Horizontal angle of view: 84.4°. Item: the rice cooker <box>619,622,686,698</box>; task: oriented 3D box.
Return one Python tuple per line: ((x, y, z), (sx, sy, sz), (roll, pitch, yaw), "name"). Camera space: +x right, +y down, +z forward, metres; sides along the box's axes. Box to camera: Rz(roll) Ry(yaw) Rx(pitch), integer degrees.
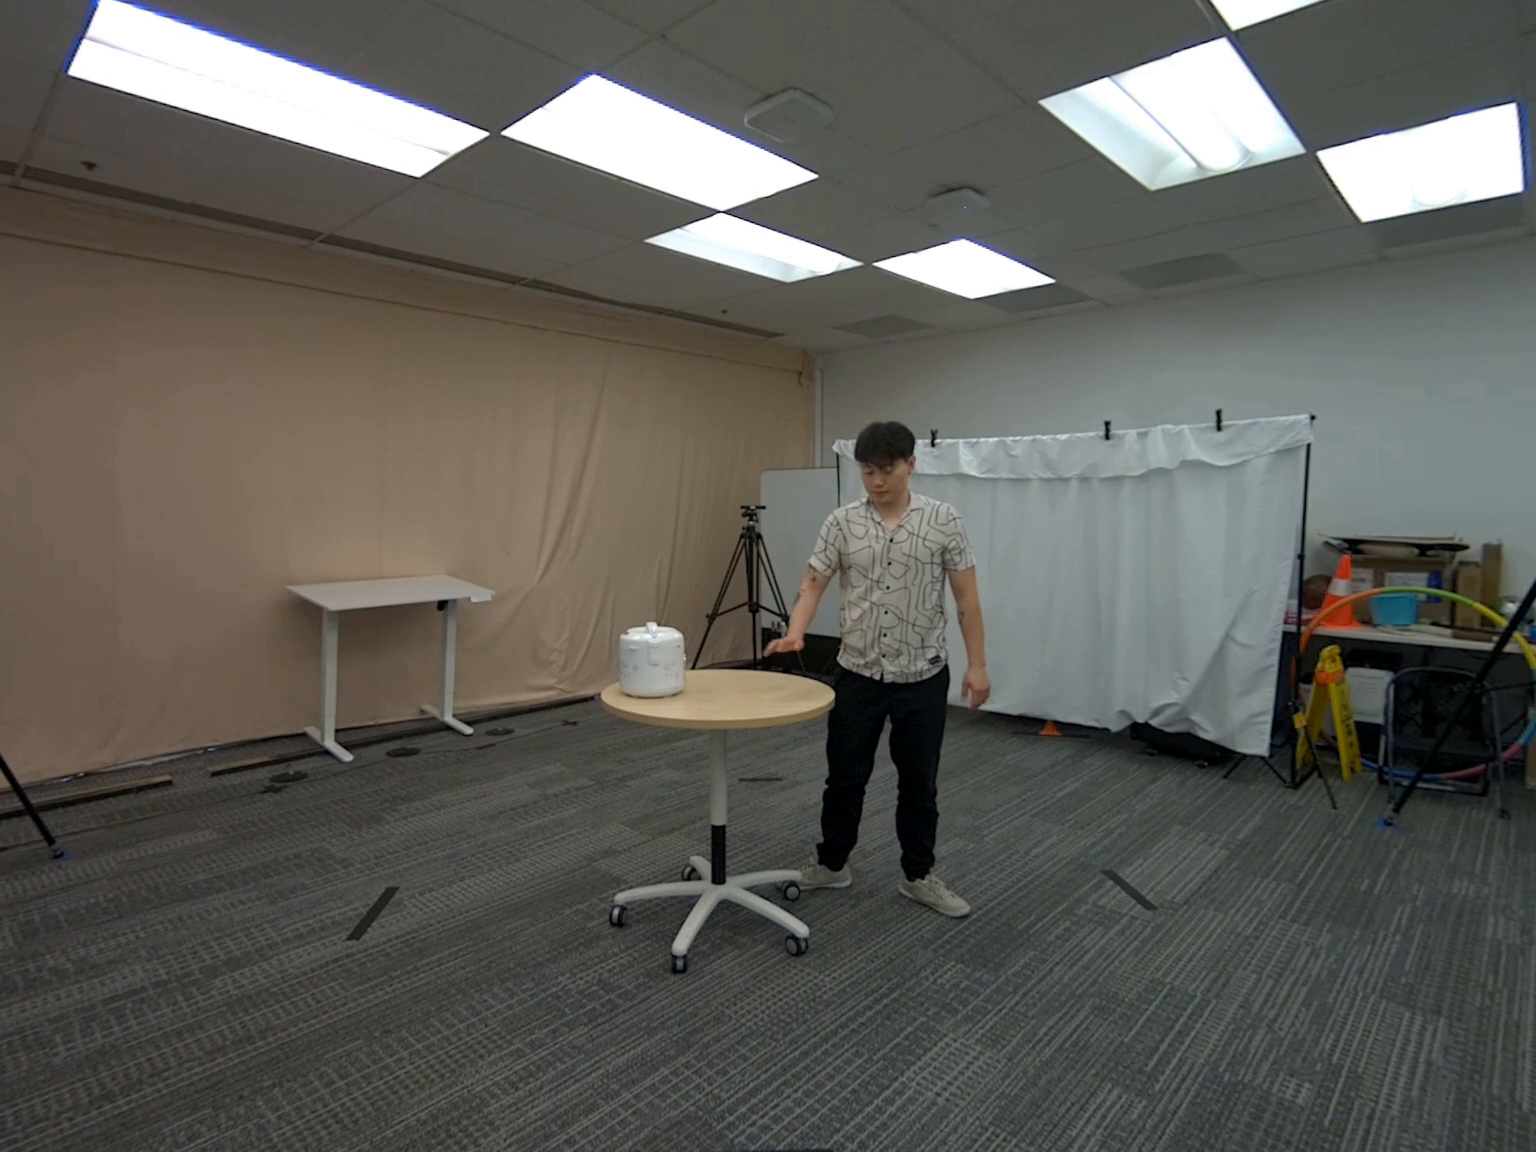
((-0.376, 0.269, 2.756), (0.215, 0.232, 0.223), (-2, 4, -11), "rice cooker")
